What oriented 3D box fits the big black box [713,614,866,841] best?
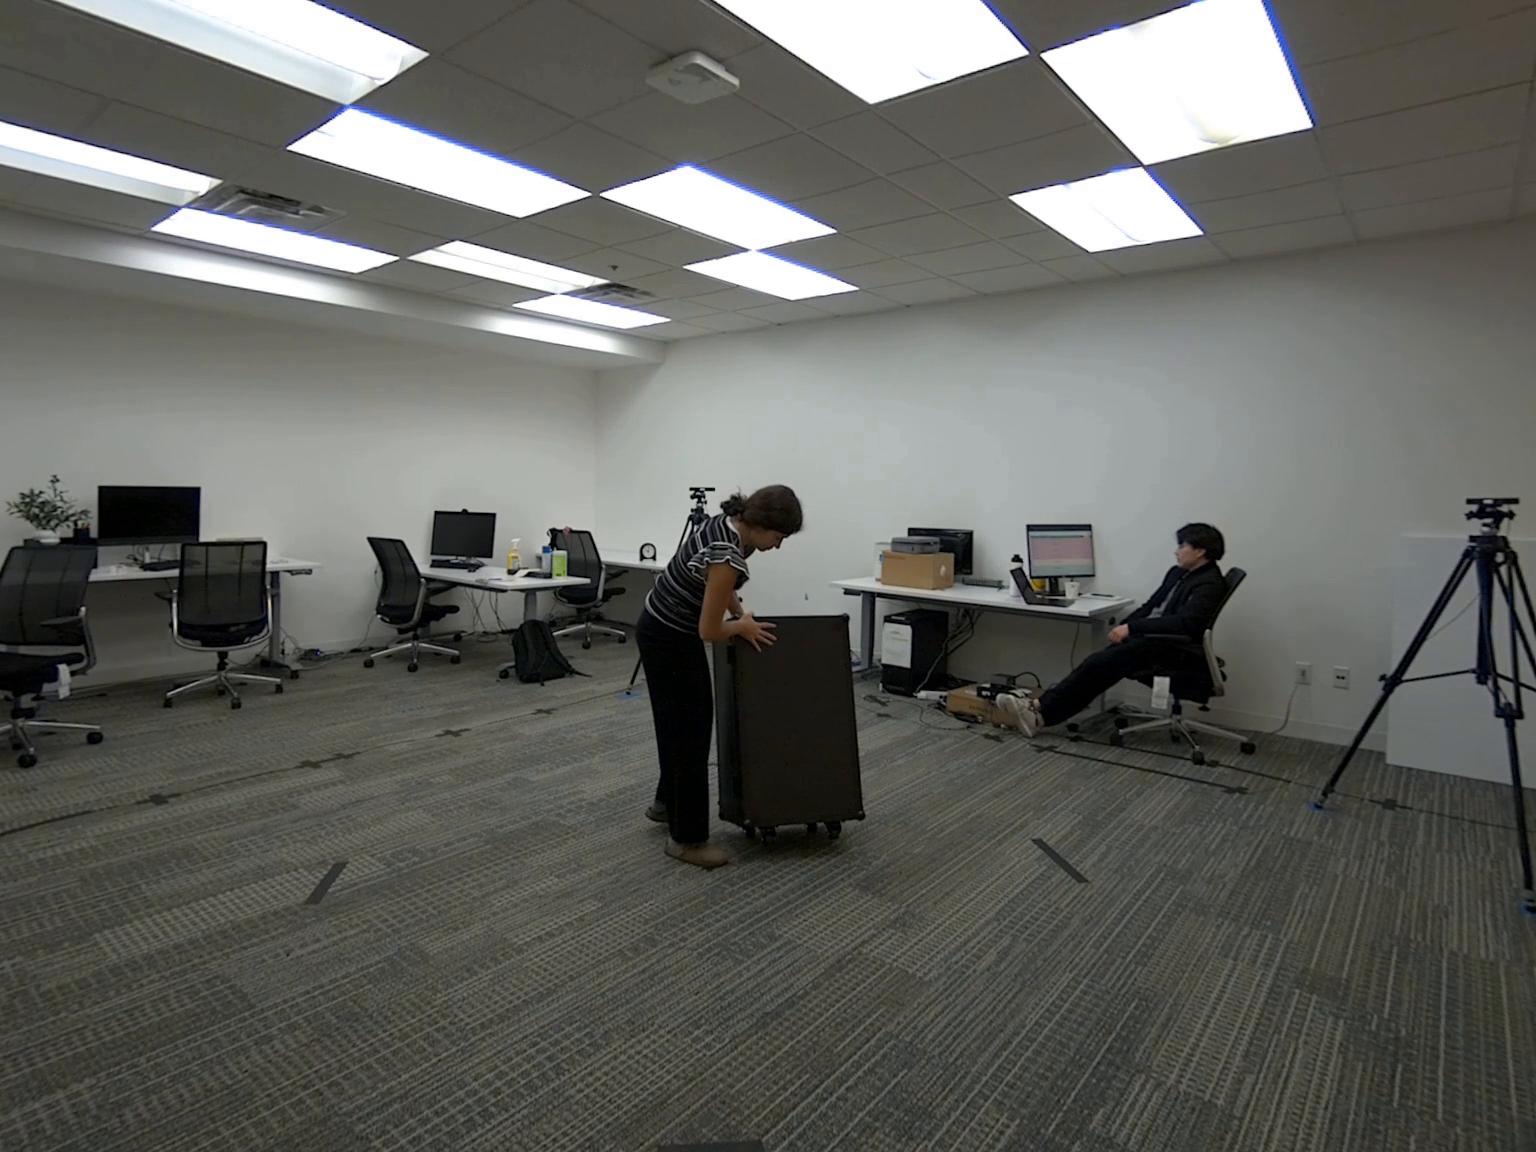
[{"bbox_3d":[0.060,0.604,3.436,0.513,0.872,0.397,0,-12,-15],"label":"big black box"}]
